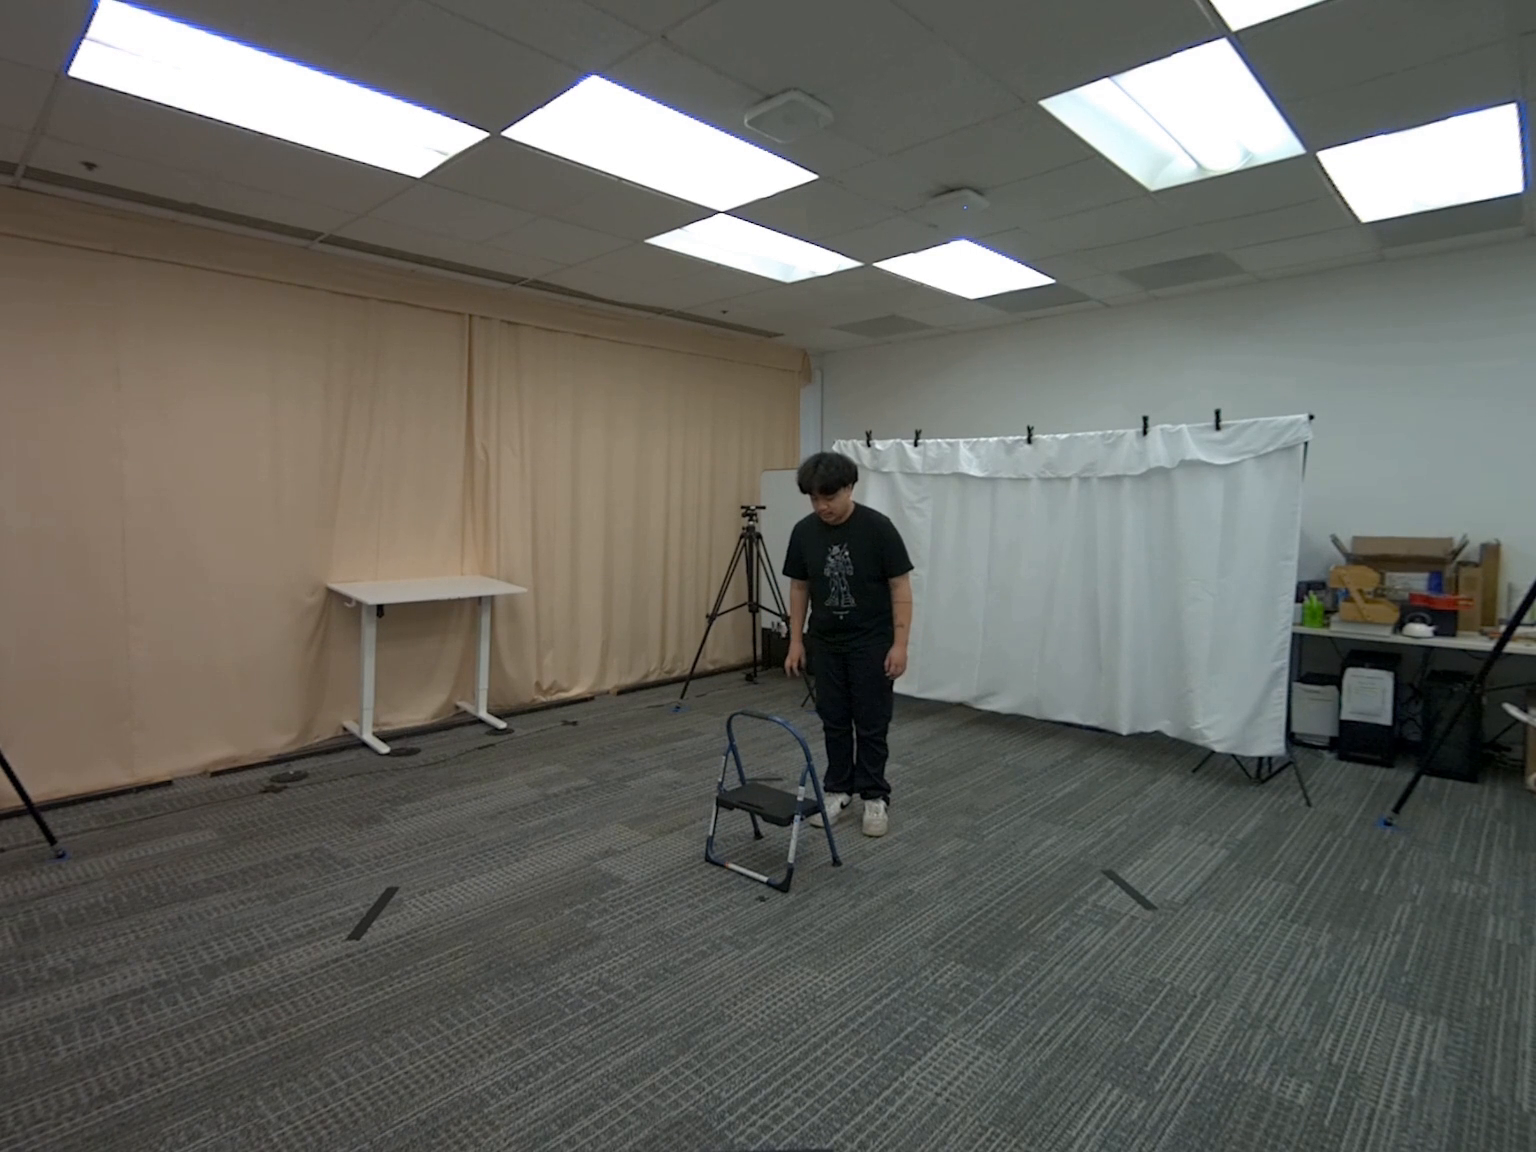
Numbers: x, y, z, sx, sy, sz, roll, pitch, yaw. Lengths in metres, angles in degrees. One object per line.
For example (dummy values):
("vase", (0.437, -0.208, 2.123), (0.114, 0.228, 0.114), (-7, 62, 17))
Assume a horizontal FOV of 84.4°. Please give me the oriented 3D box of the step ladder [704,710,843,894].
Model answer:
("step ladder", (0.015, 0.815, 3.269), (0.445, 0.605, 0.338), (2, 4, 41))
